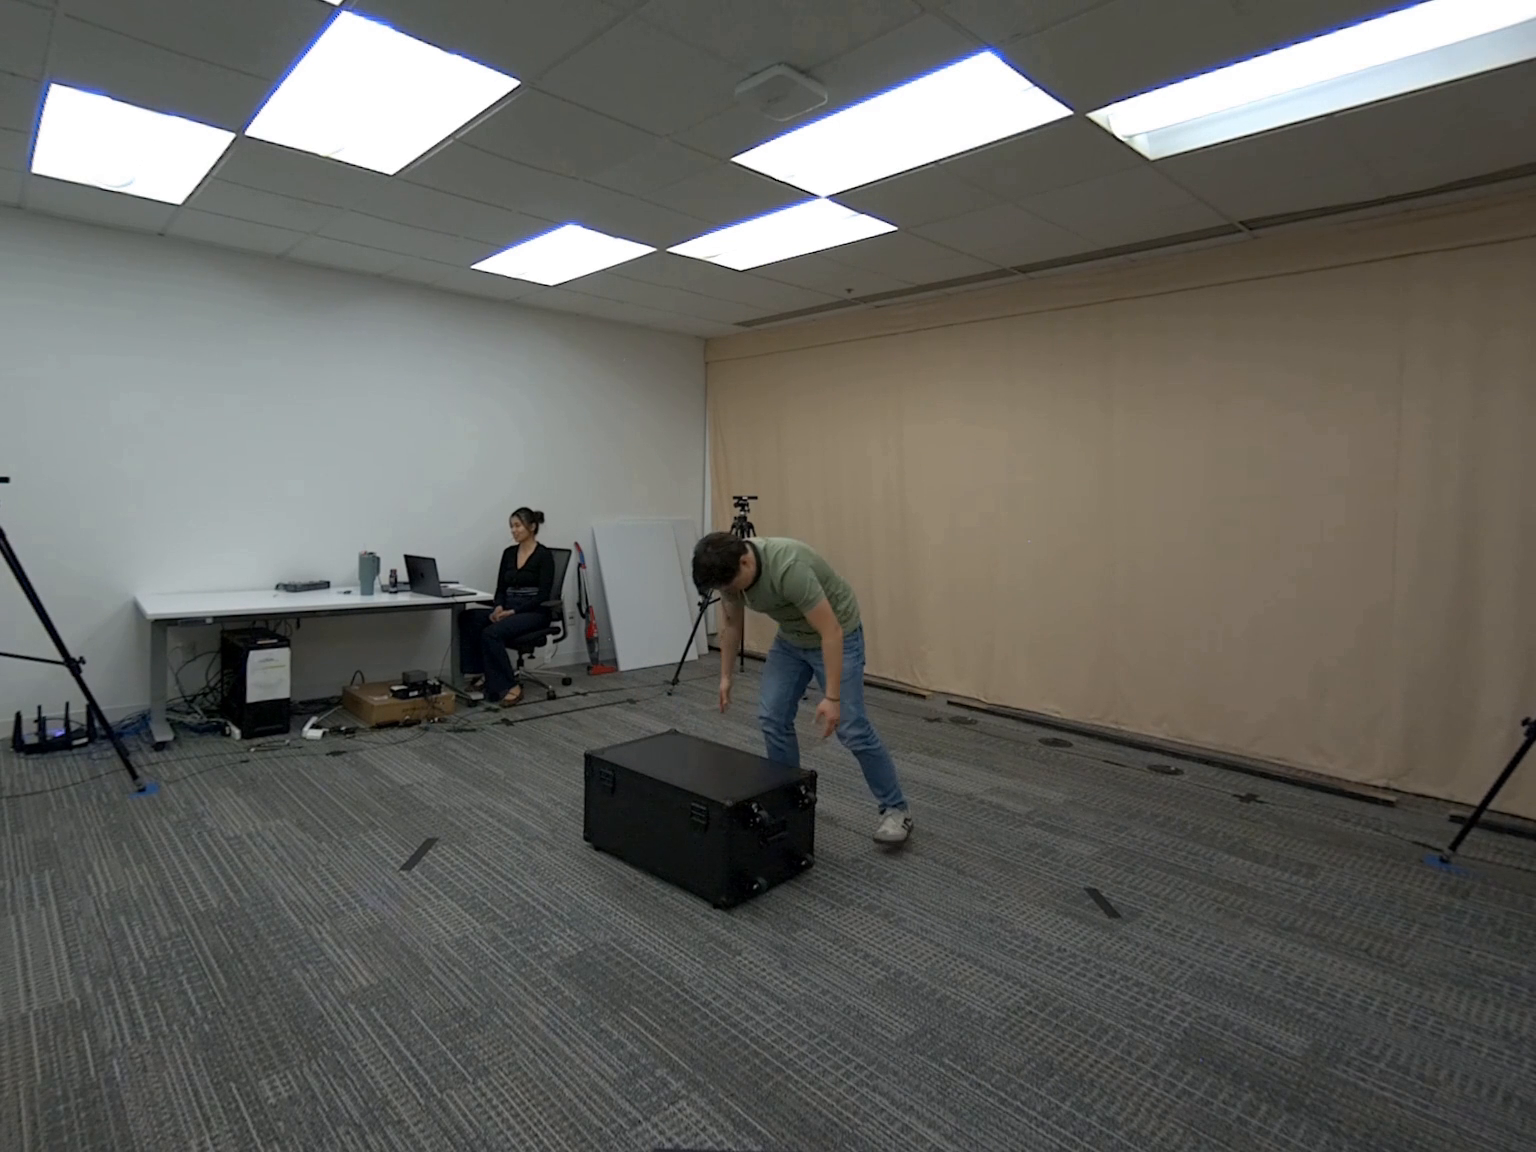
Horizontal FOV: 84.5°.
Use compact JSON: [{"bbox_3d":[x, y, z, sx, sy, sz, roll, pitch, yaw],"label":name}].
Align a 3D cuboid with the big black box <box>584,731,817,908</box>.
[{"bbox_3d":[-0.258,0.902,3.200,0.883,0.395,0.509,5,5,41],"label":"big black box"}]
